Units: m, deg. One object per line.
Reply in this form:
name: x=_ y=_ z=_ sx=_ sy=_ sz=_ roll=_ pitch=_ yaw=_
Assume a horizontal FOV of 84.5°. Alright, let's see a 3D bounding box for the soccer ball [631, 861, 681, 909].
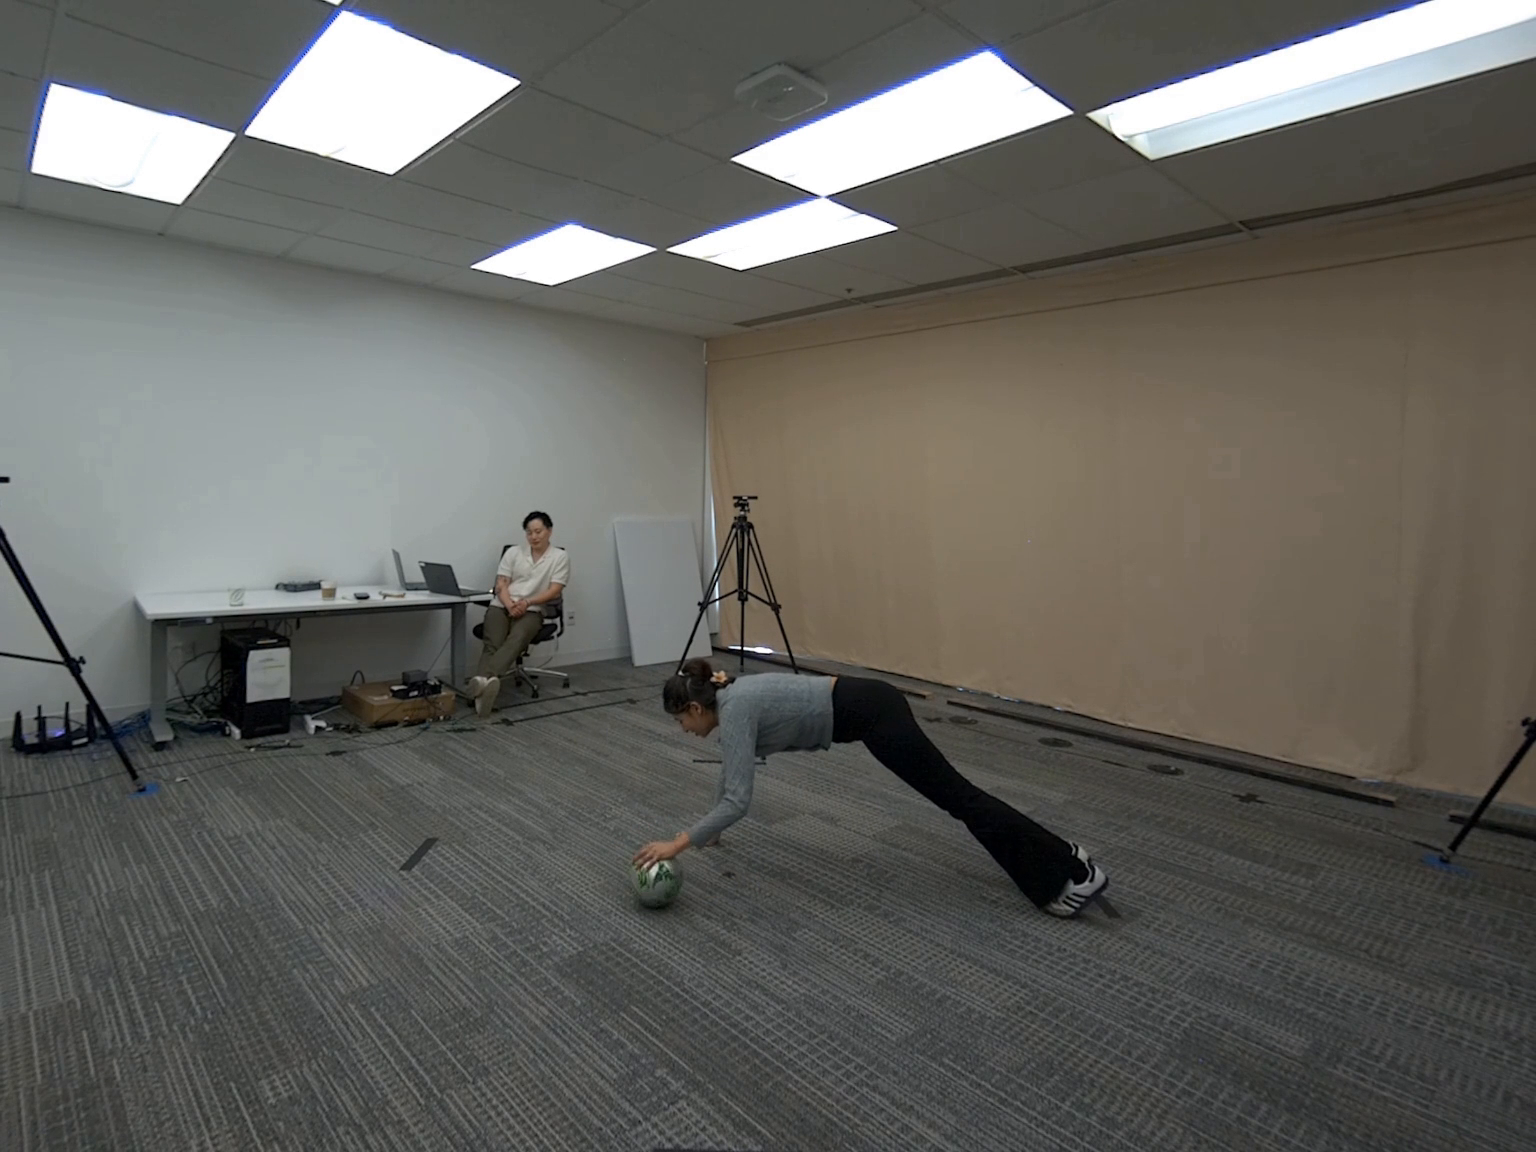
soccer ball: x=-0.382 y=1.023 z=2.868 sx=0.187 sy=0.187 sz=0.188 roll=1 pitch=4 yaw=-1
